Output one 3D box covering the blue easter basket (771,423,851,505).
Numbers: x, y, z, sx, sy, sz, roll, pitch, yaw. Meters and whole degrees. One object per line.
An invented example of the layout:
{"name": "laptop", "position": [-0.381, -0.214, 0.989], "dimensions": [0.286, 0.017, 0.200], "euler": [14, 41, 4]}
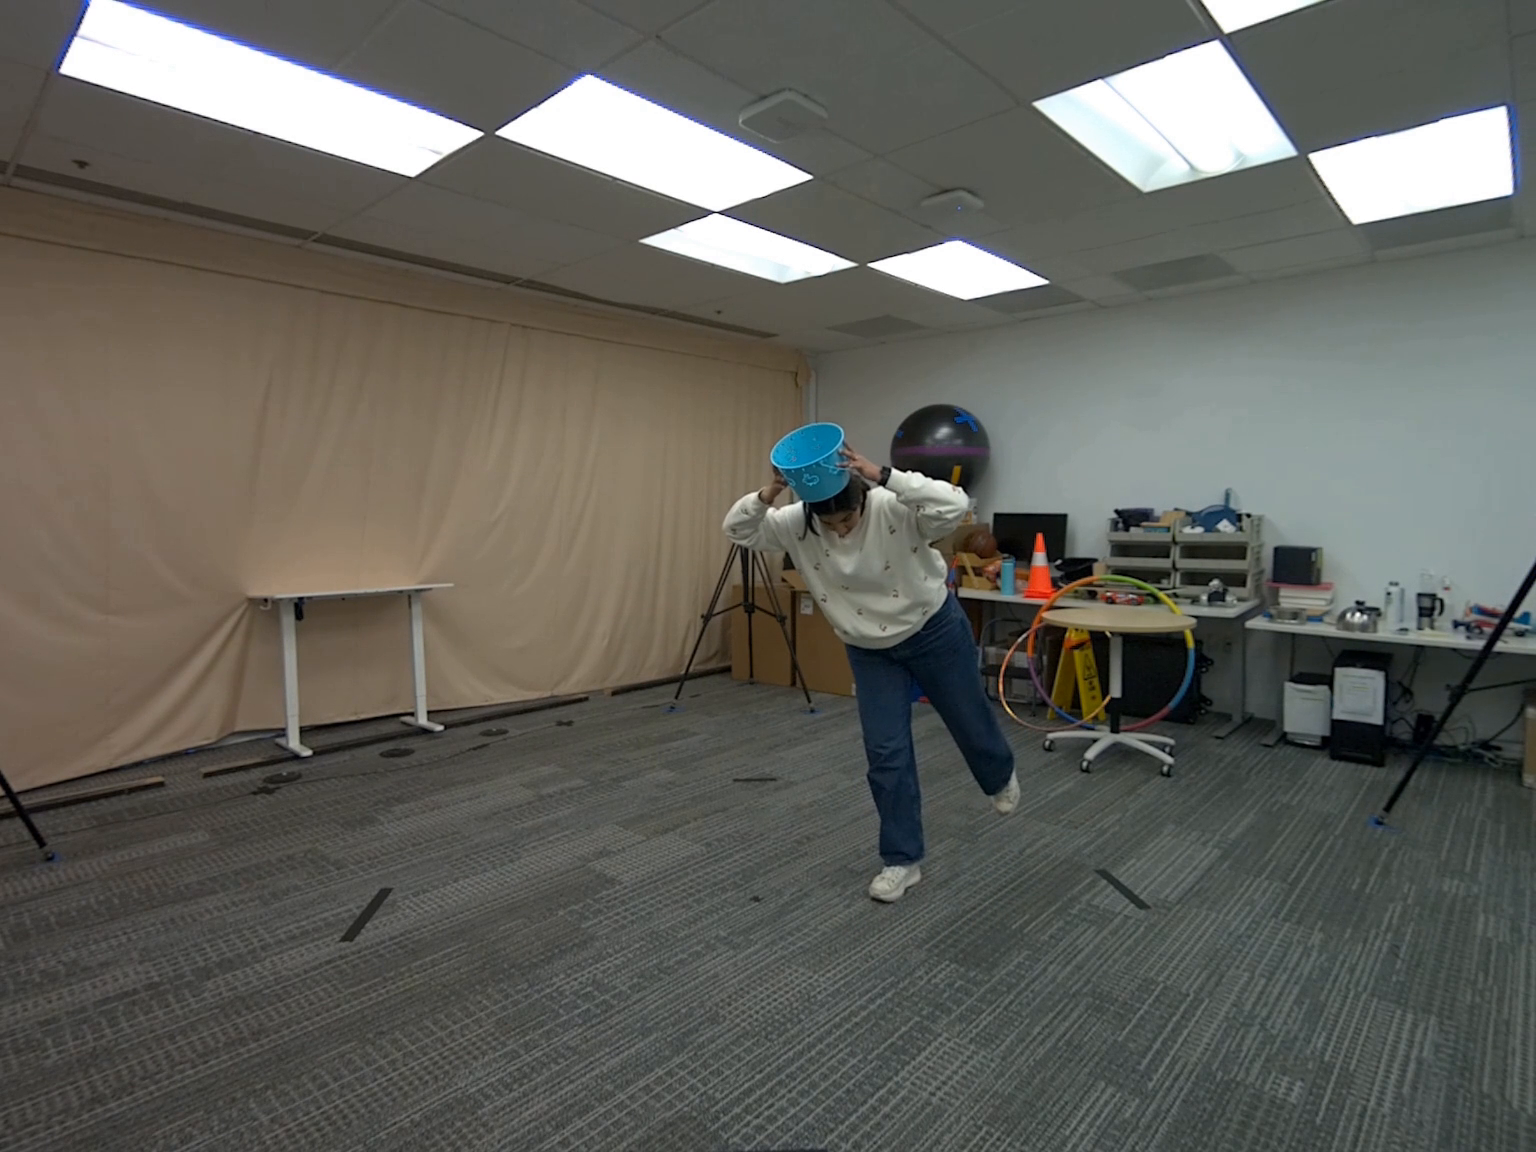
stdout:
{"name": "blue easter basket", "position": [0.153, -0.346, 2.600], "dimensions": [0.246, 0.151, 0.248], "euler": [-21, 34, 12]}
